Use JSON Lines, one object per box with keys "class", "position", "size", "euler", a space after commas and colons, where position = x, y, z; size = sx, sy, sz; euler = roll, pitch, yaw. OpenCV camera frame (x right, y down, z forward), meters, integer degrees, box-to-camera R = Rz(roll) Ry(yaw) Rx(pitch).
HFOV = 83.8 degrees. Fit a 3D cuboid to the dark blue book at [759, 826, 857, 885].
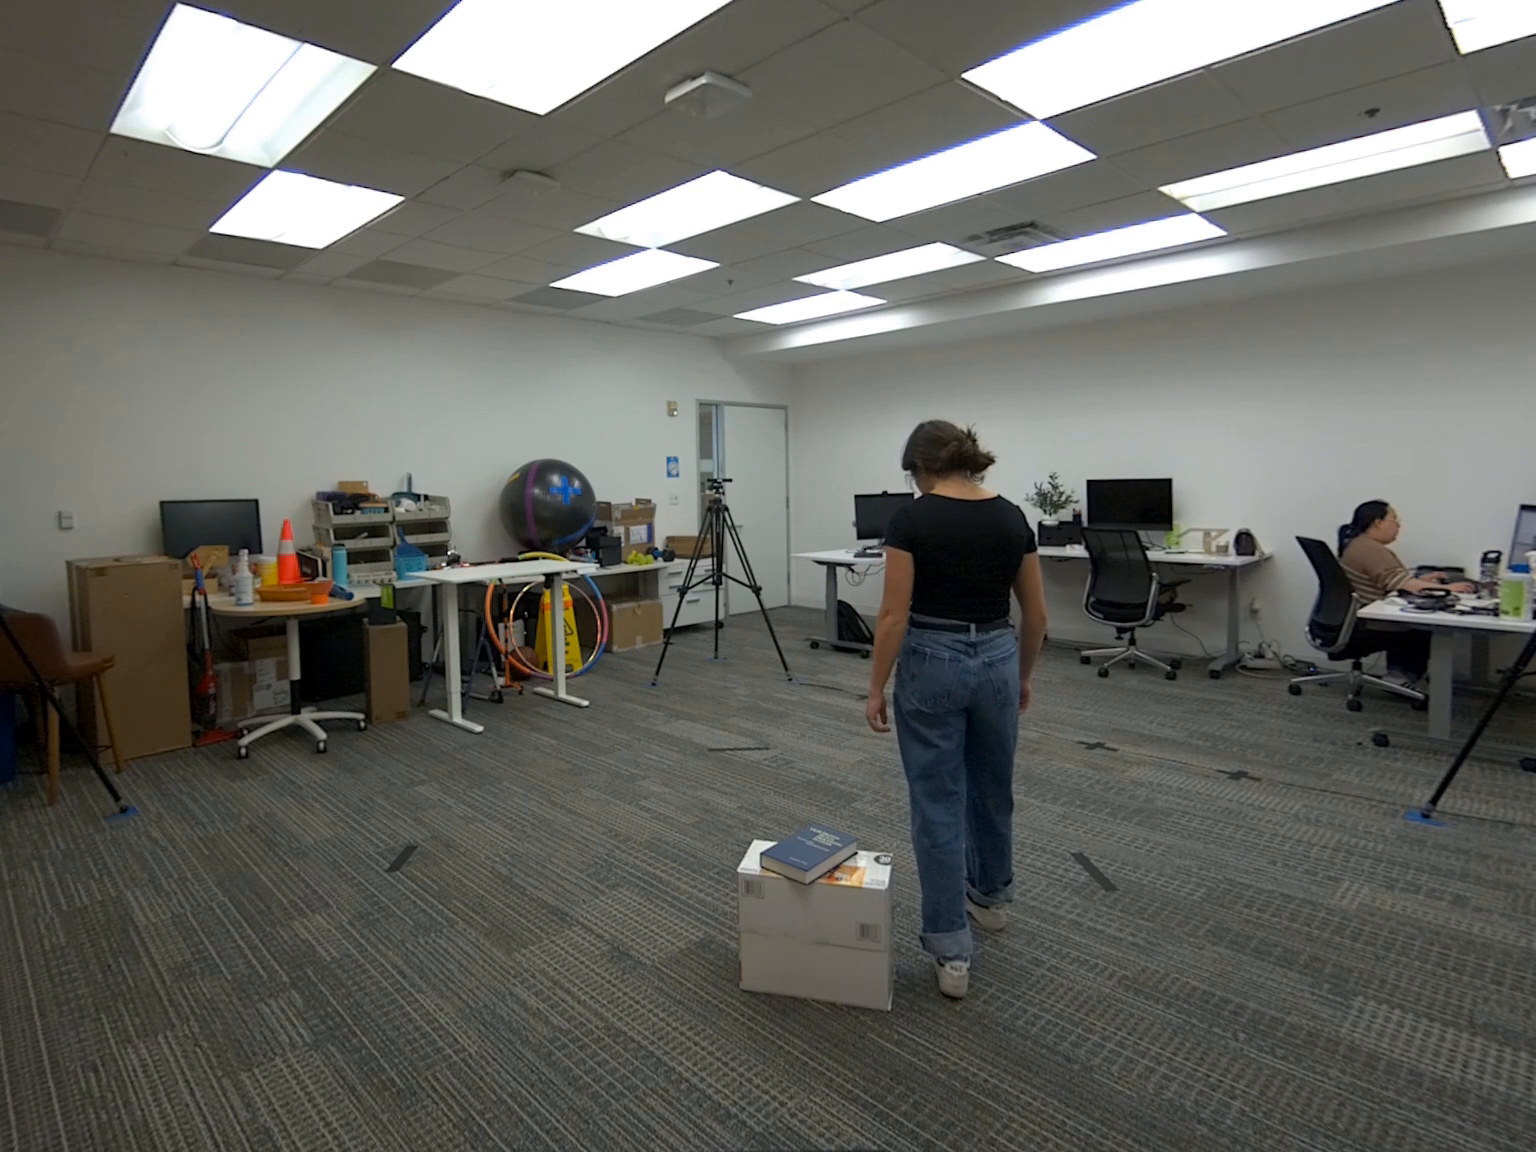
{"class": "dark blue book", "position": [0.126, 0.770, 2.363], "size": [0.168, 0.045, 0.239], "euler": [6, 11, 40]}
